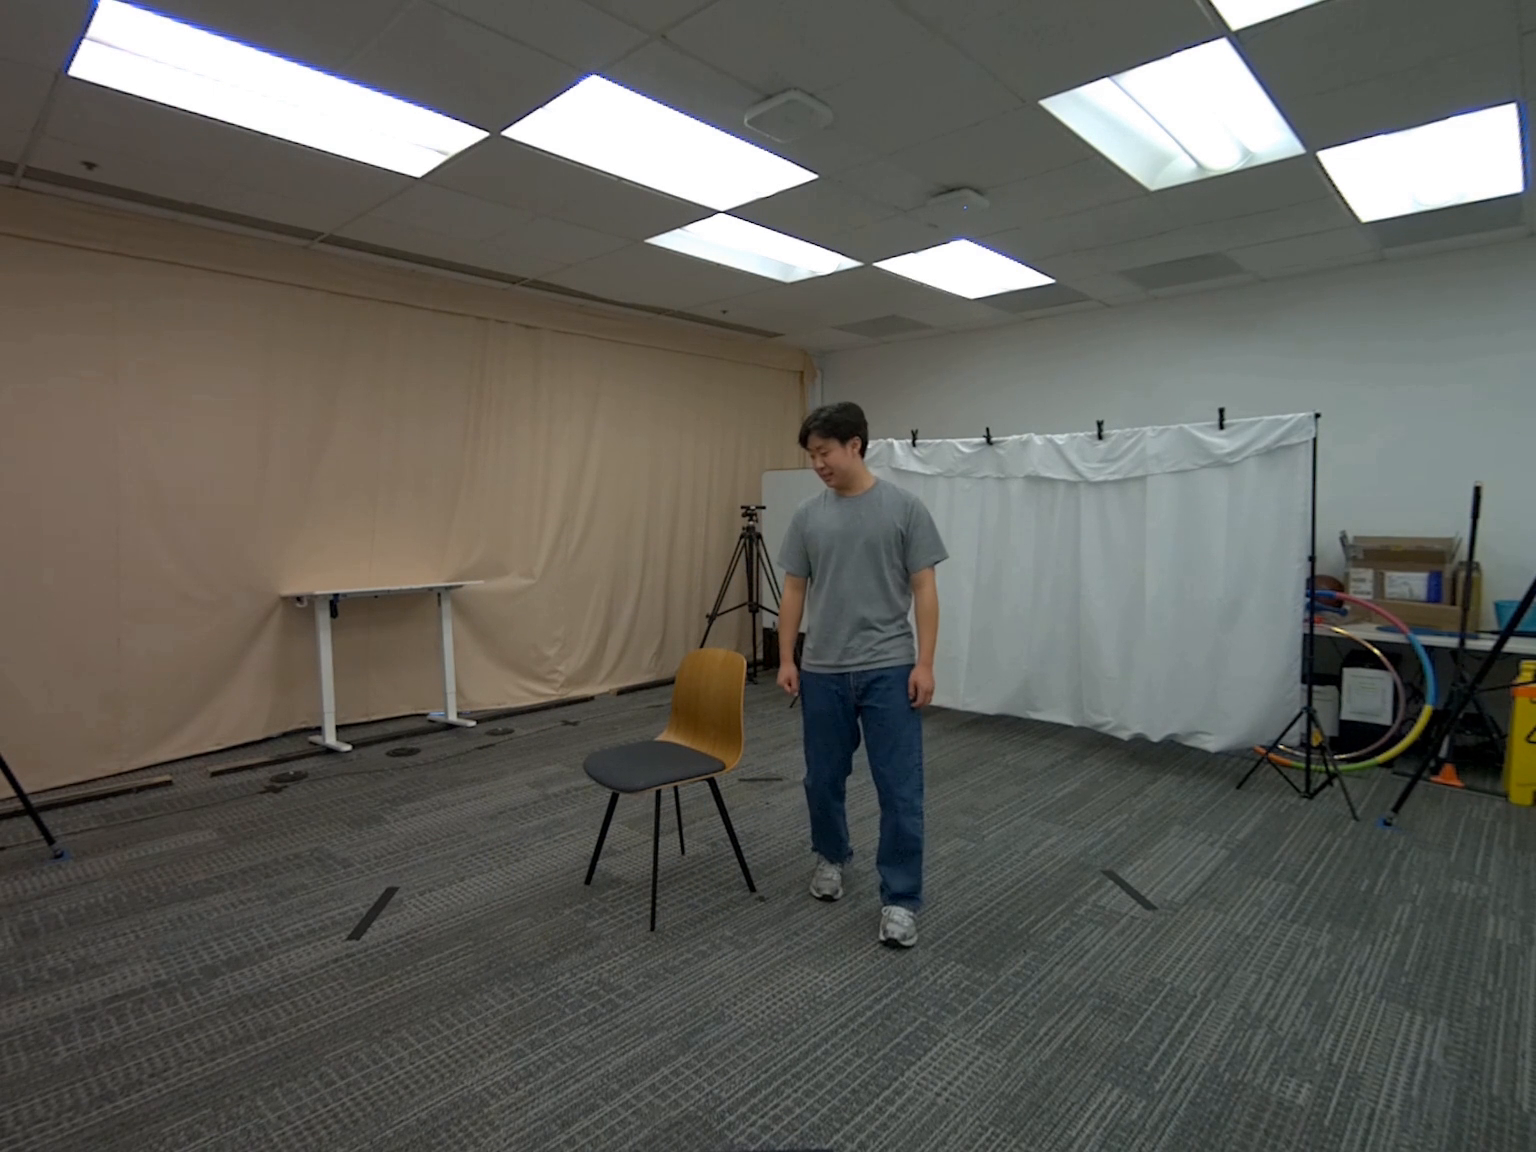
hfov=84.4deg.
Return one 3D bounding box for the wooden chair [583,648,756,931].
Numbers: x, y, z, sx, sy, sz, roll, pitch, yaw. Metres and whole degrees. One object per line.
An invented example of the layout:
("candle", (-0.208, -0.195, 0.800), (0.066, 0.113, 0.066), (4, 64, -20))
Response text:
("wooden chair", (-0.372, 0.718, 3.039), (0.506, 0.877, 0.494), (2, 1, -40))
